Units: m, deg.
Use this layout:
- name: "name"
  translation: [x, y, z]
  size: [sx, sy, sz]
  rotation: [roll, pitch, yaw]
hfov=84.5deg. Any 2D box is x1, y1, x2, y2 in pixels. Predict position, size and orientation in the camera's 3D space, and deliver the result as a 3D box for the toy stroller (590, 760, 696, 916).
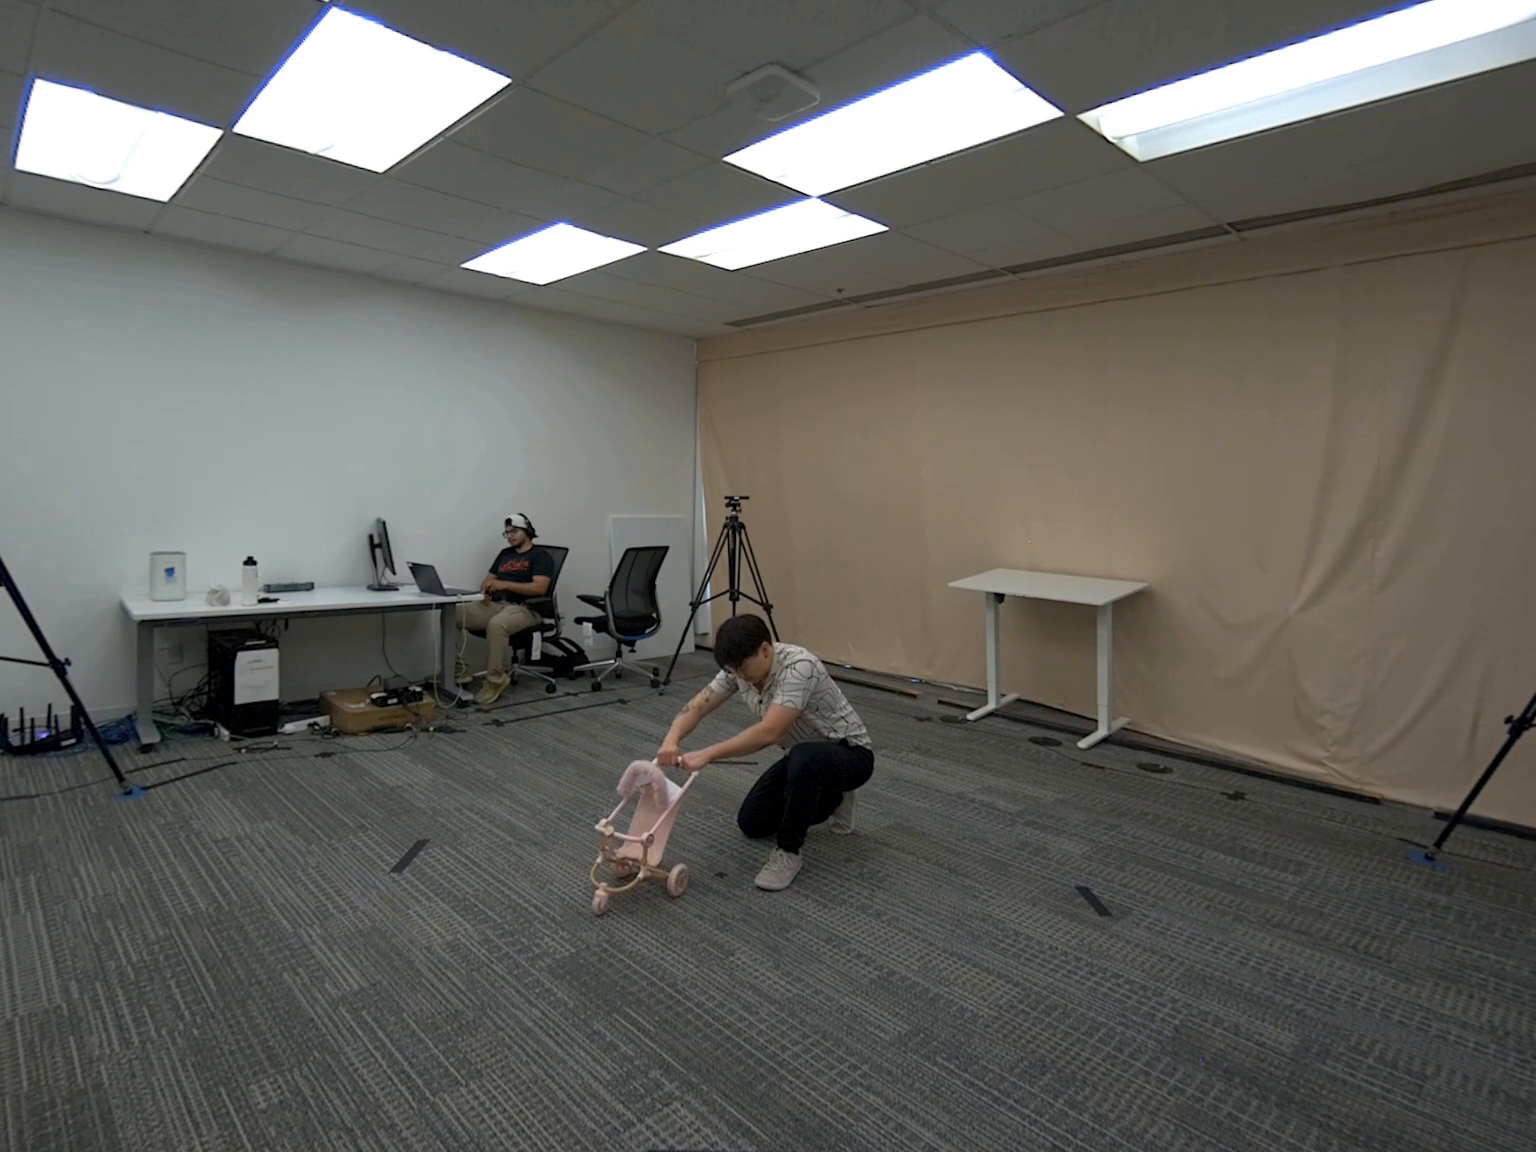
- name: "toy stroller"
  translation: [-0.452, 0.886, 2.943]
  size: [0.288, 0.538, 0.331]
  rotation: [3, -12, 37]
